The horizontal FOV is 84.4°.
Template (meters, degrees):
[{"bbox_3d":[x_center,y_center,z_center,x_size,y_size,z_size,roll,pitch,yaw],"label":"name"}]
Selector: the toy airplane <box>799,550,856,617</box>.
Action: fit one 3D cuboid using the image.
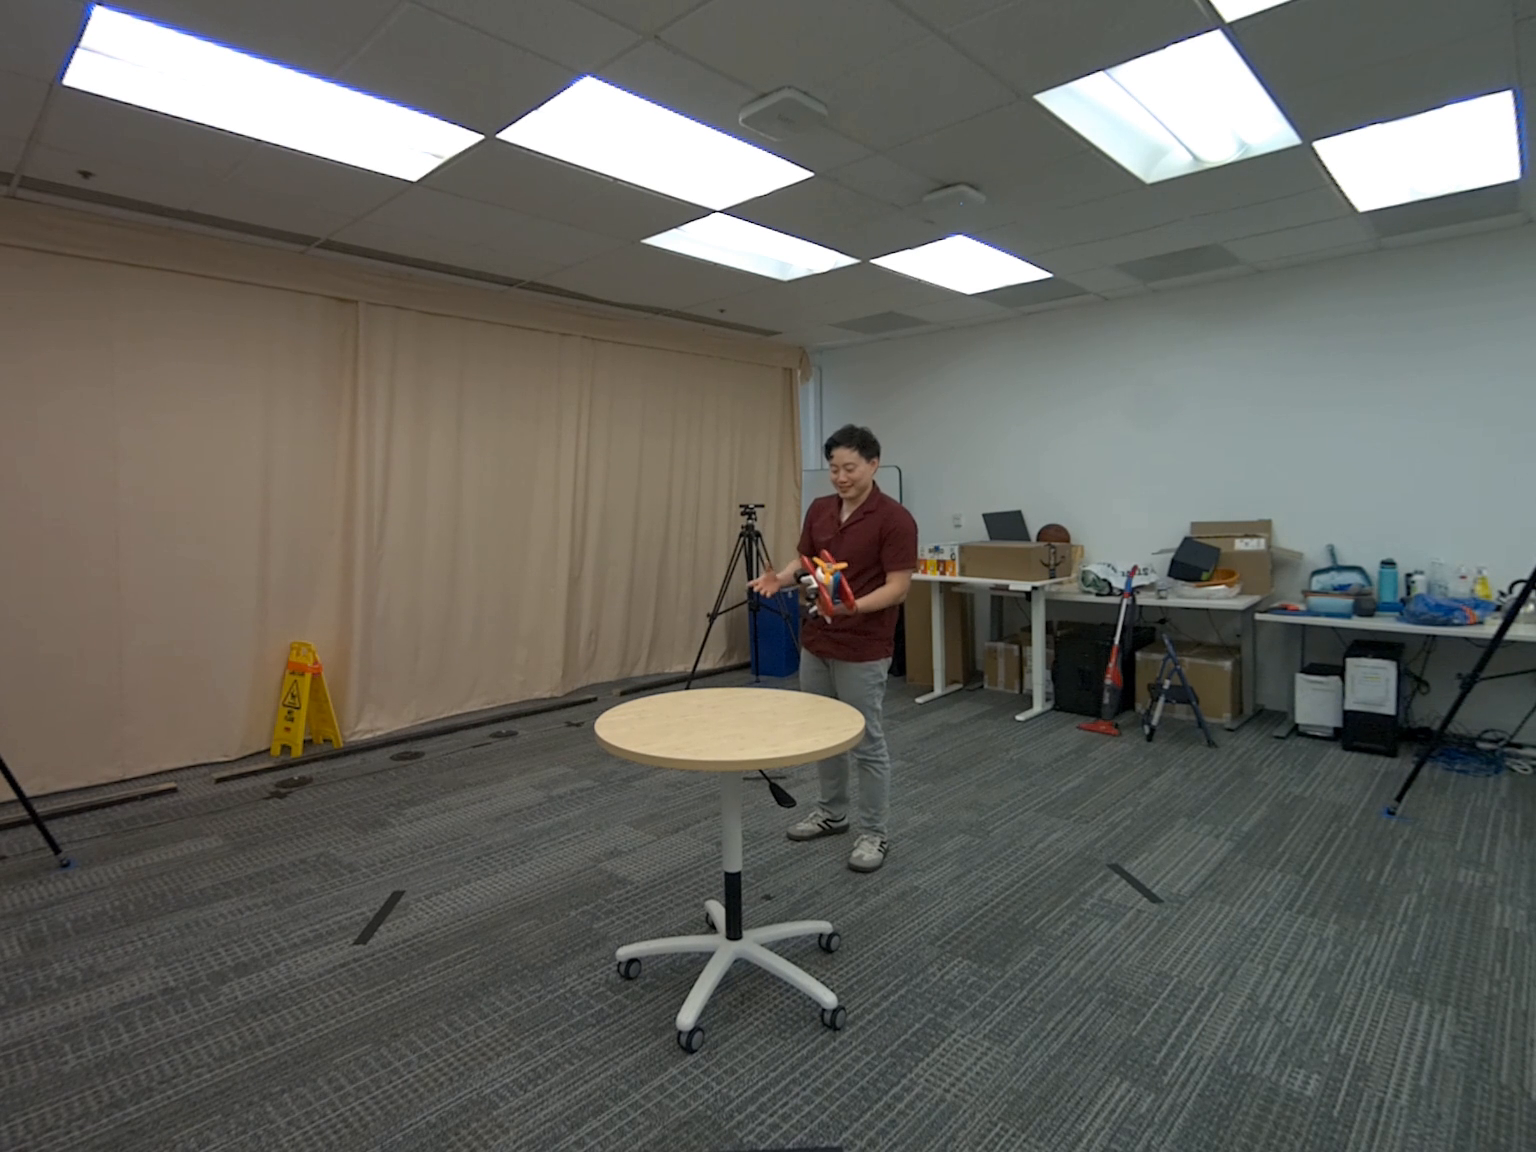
[{"bbox_3d":[0.187,0.028,2.971,0.156,0.254,0.256,-22,-10,-1],"label":"toy airplane"}]
